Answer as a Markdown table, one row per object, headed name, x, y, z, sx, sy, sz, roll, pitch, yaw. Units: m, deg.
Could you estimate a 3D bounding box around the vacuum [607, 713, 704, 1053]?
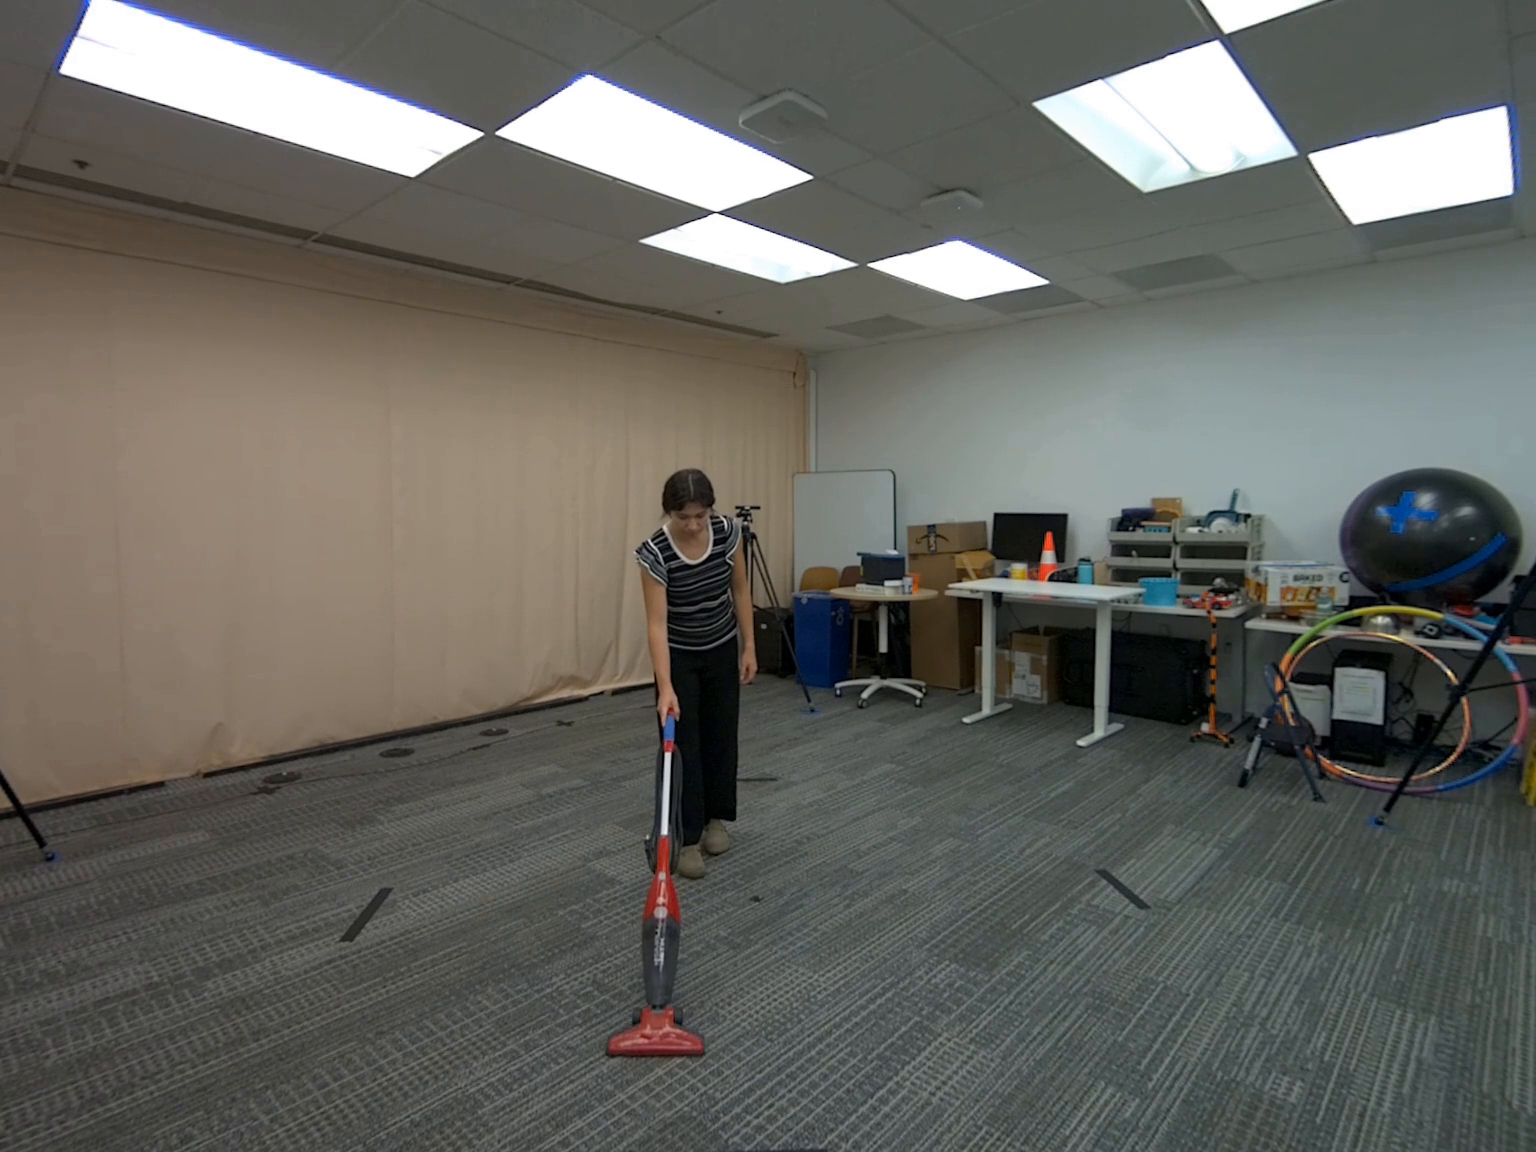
| name | x | y | z | sx | sy | sz | roll | pitch | yaw |
| --- | --- | --- | --- | --- | --- | --- | --- | --- | --- |
| vacuum | -0.308 | 0.821 | 2.589 | 0.252 | 0.142 | 1.069 | 2 | 44 | -4 |
